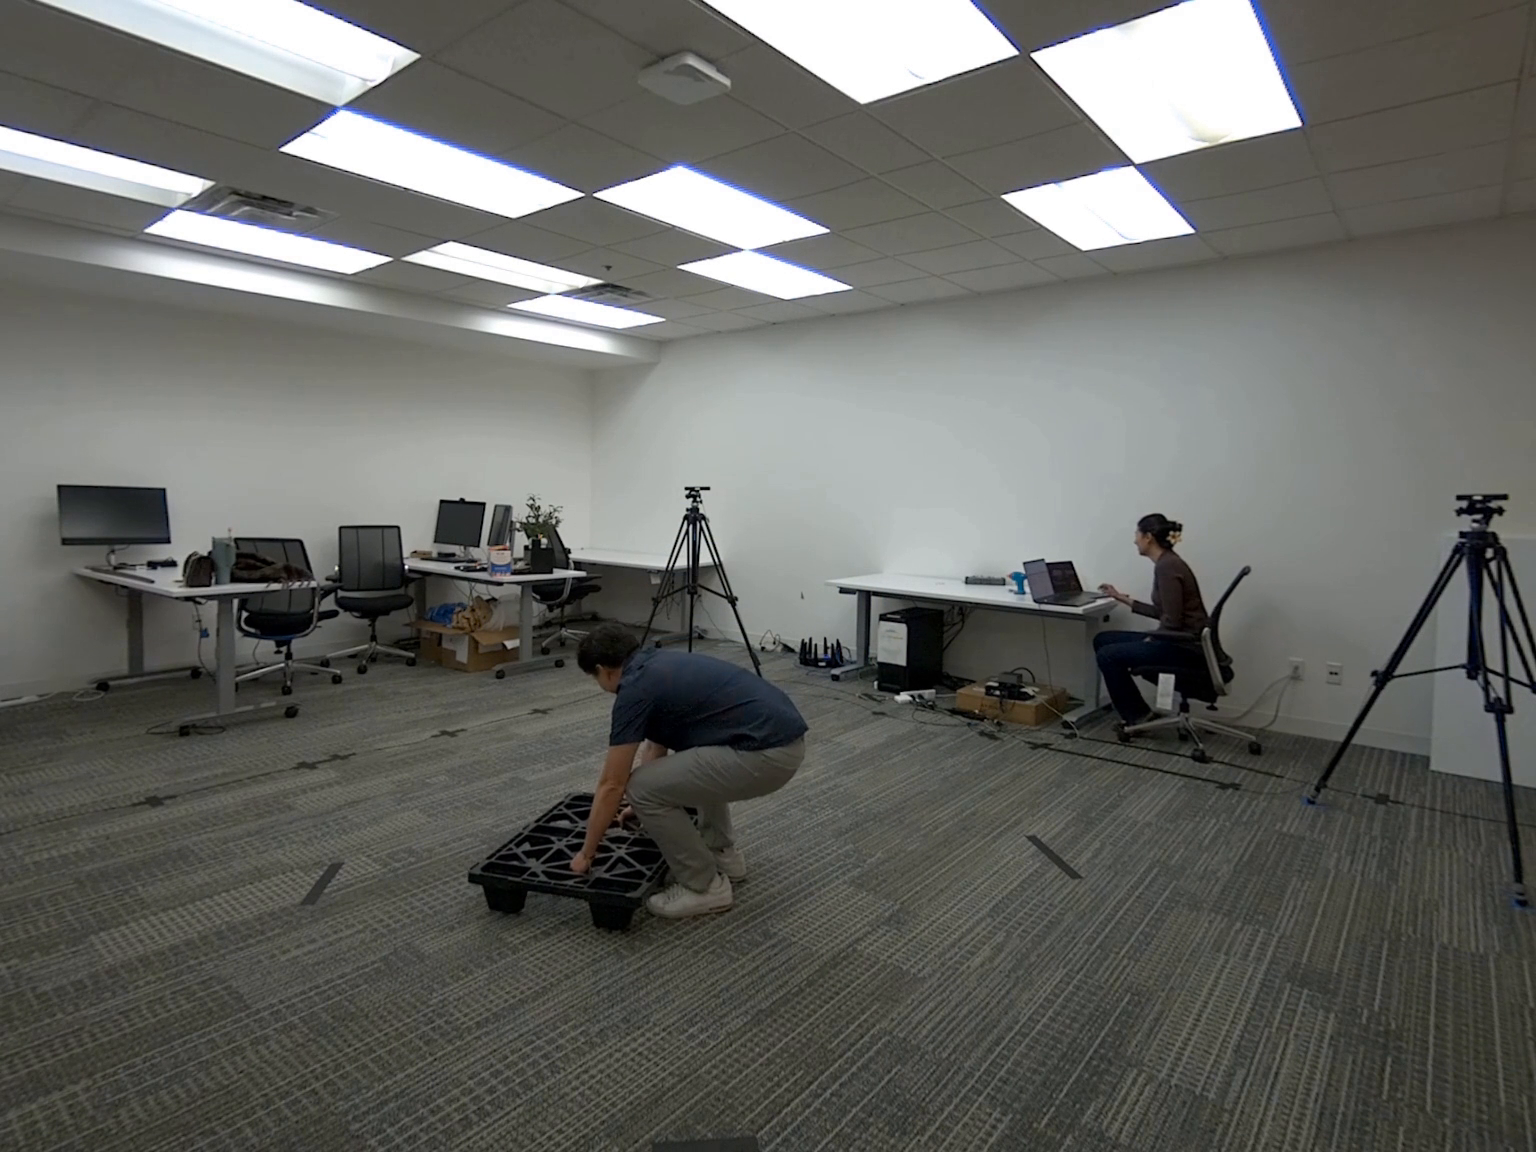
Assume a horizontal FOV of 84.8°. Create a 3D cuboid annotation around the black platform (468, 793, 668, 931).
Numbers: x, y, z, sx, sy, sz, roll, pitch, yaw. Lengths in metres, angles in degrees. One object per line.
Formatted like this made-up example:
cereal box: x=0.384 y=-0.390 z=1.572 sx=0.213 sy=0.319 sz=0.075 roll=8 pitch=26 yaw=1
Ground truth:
black platform: x=-0.610 y=0.988 z=3.041 sx=0.615 sy=0.143 sz=0.796 roll=3 pitch=6 yaw=13
